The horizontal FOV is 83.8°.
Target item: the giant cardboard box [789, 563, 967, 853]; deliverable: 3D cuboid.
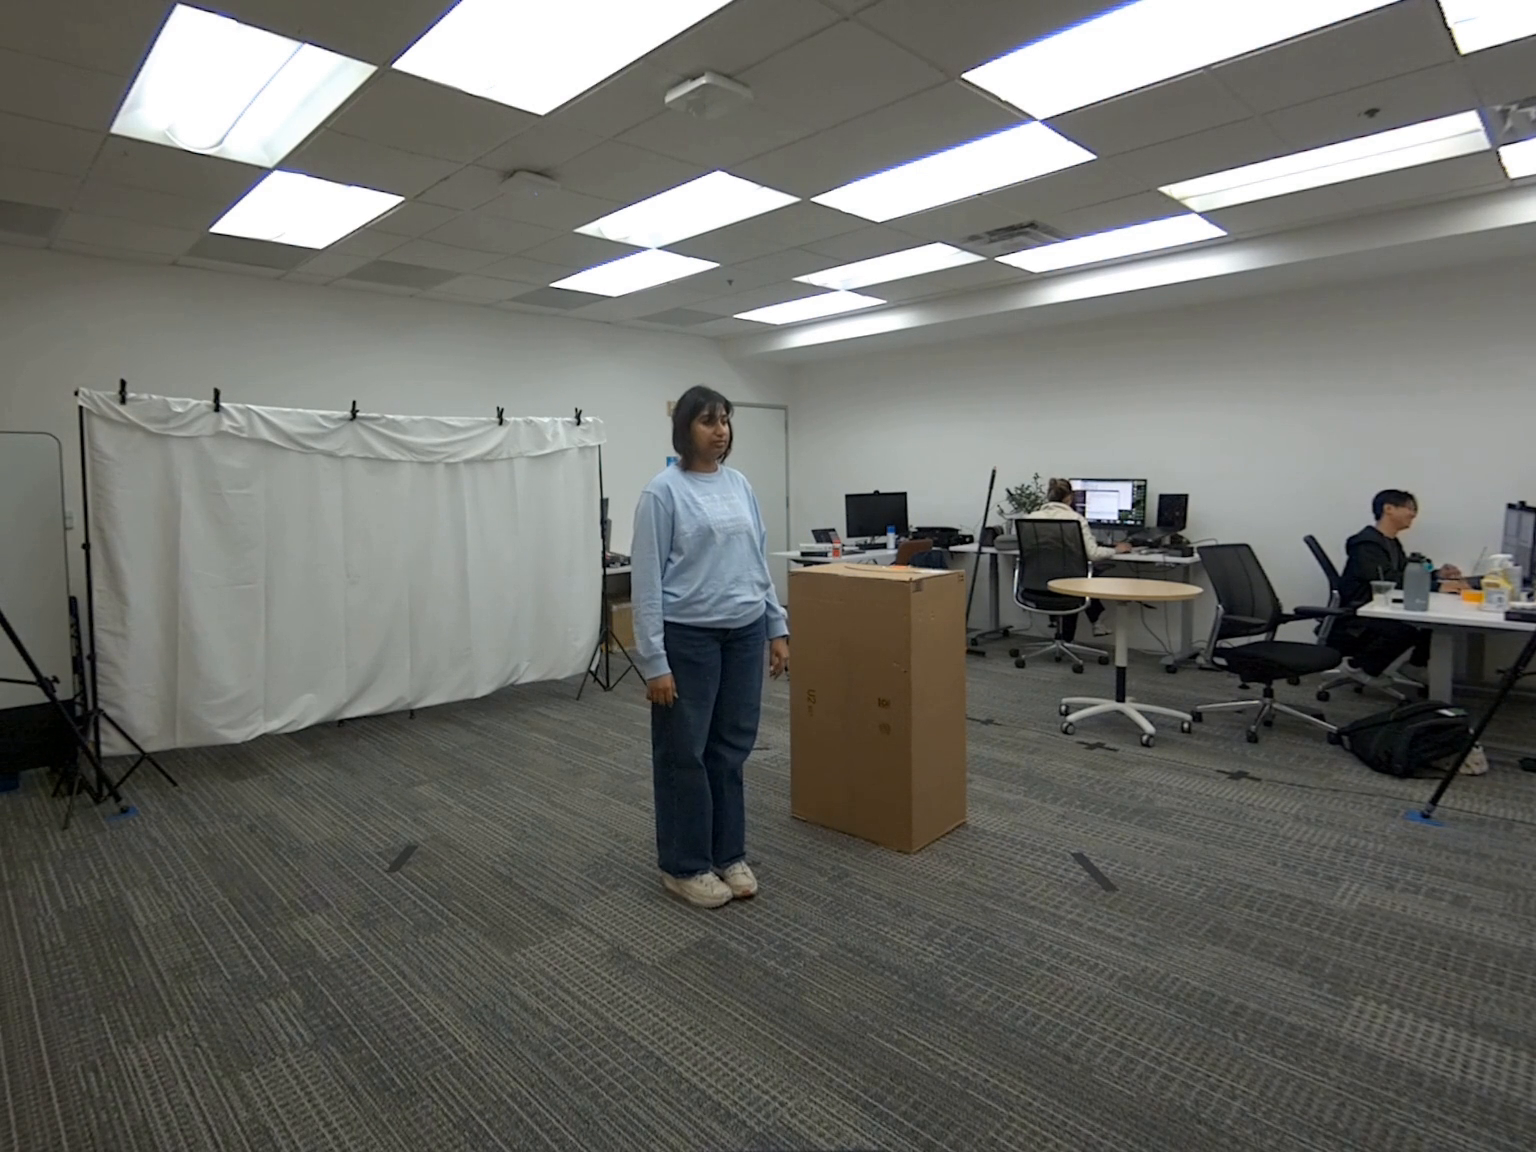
[{"bbox_3d":[0.446,0.486,3.475,0.602,1.024,0.435,3,5,43],"label":"giant cardboard box"}]
